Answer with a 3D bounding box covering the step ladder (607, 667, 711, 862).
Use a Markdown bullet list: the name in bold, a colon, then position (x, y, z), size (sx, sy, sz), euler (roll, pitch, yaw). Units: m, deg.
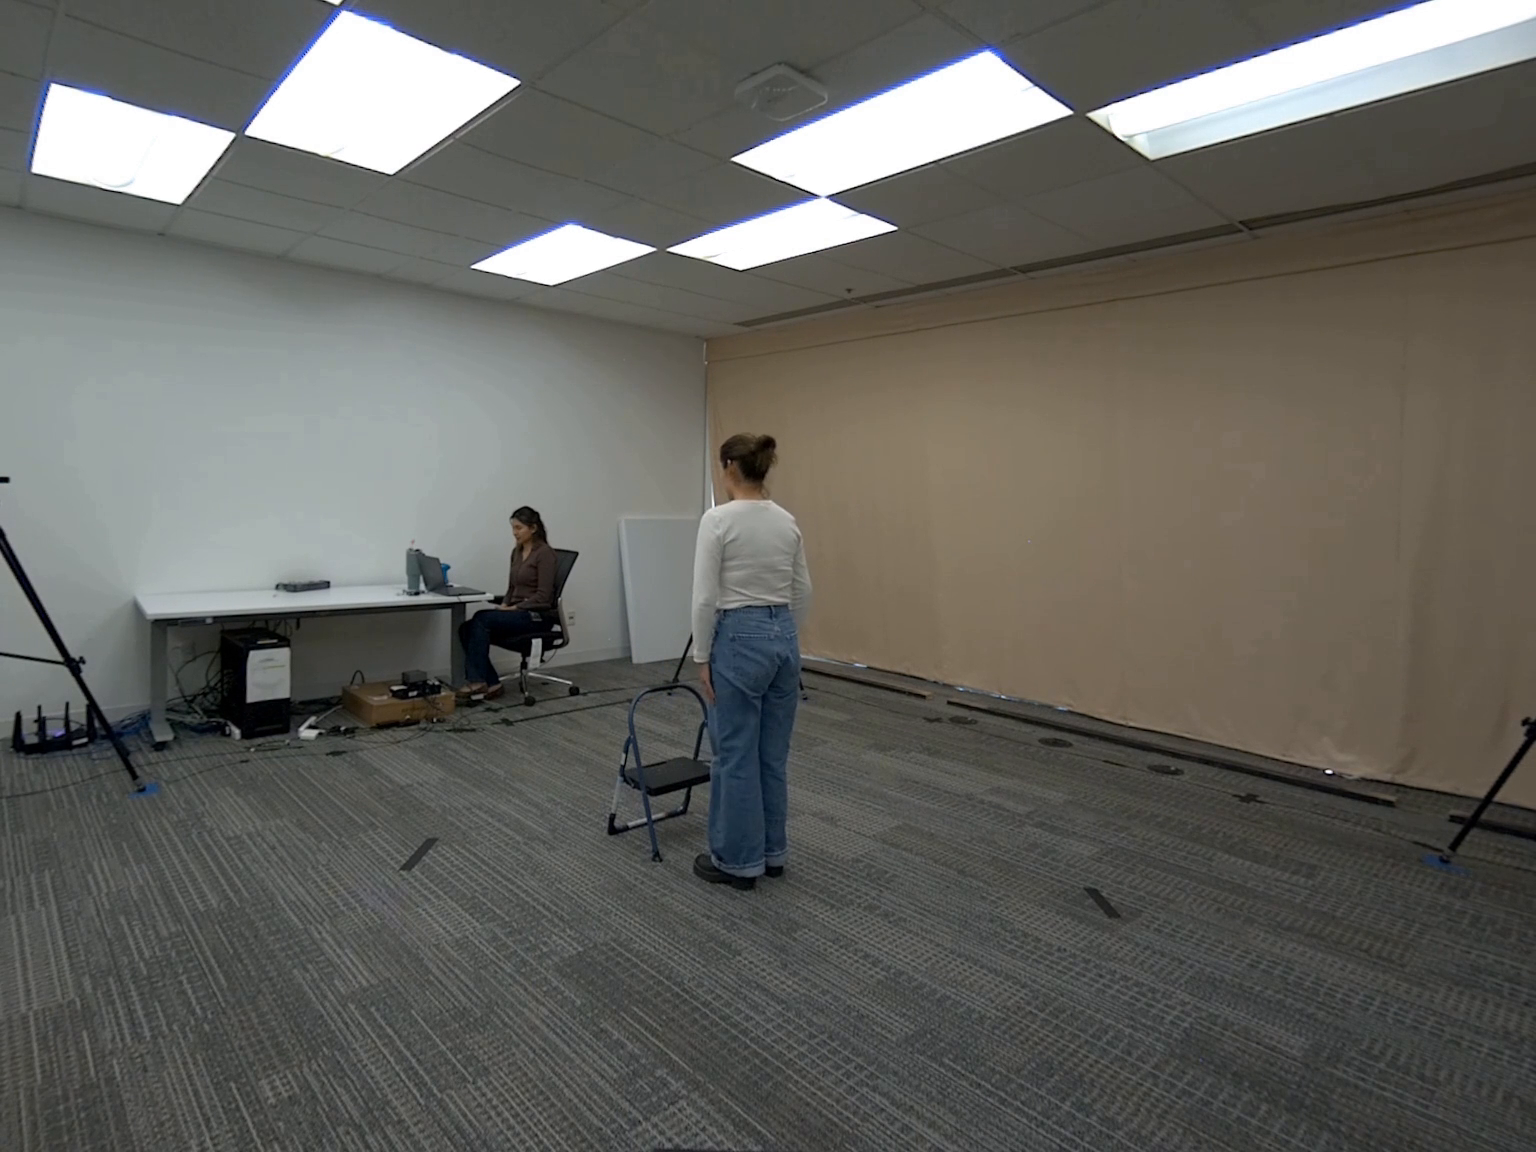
- **step ladder**: position (-0.390, 0.762, 3.448), size (0.421, 0.604, 0.358), euler (-2, 5, -45)
